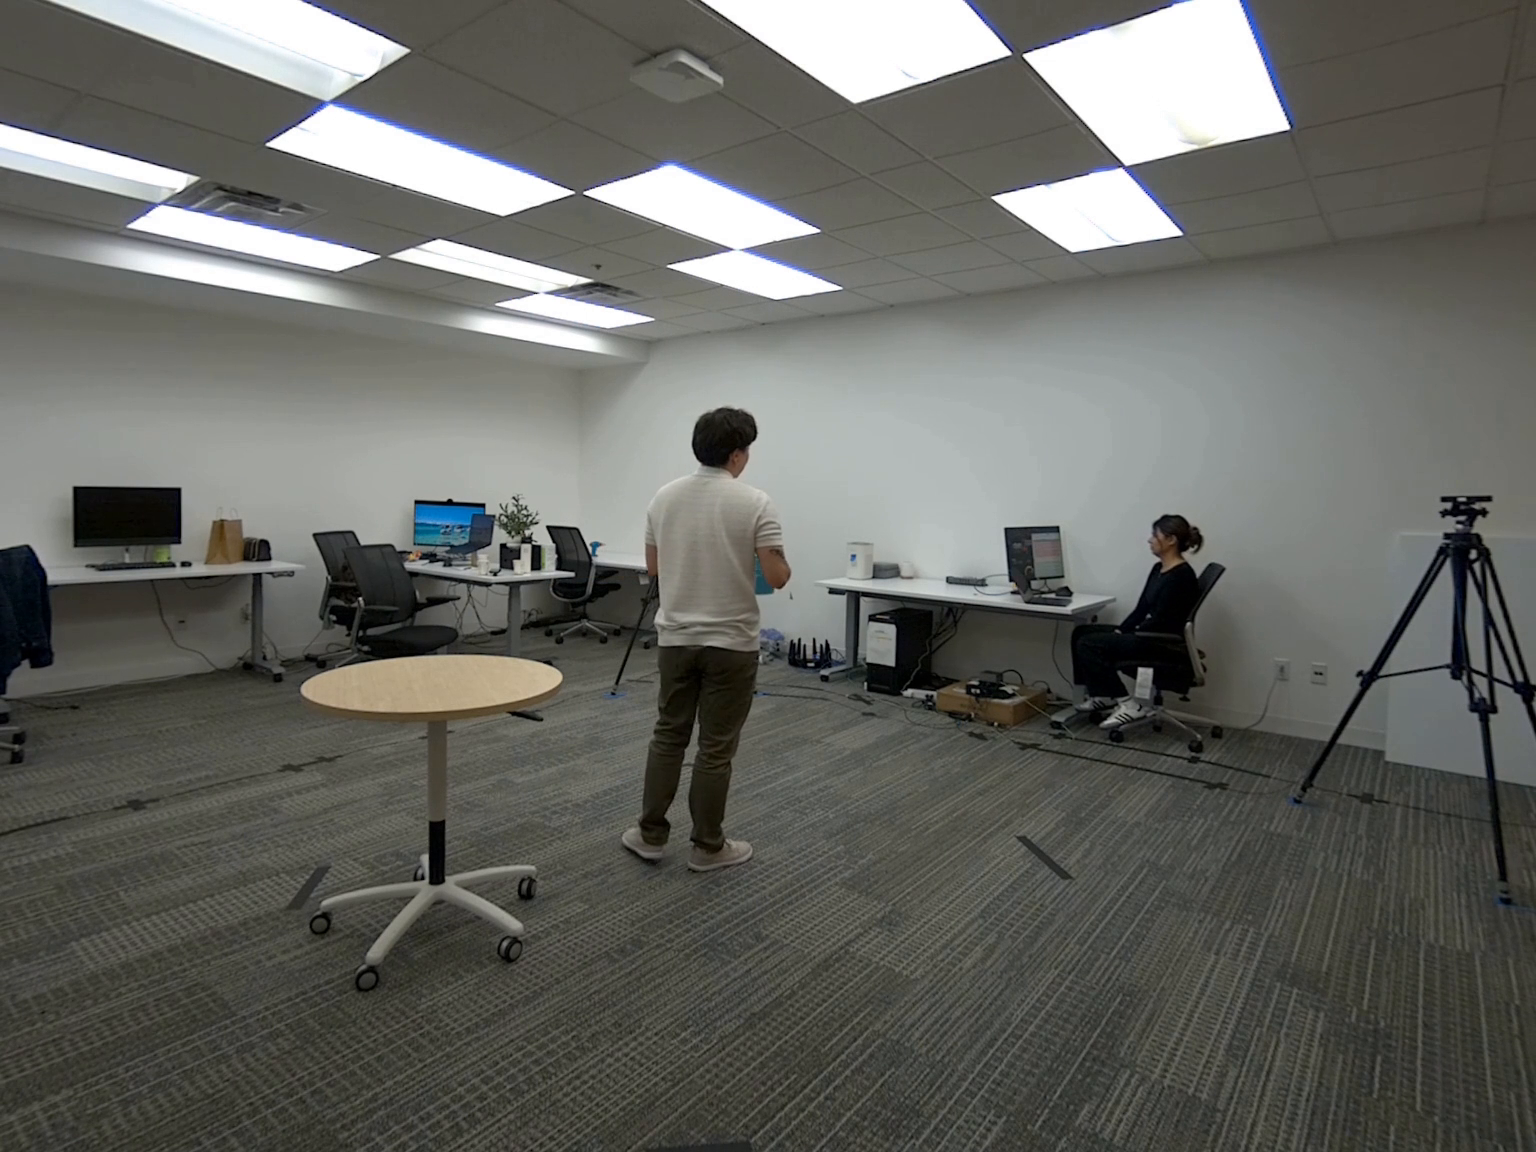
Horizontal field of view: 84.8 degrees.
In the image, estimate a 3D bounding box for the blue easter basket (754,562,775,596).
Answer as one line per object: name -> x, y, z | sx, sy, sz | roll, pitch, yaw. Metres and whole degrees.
blue easter basket -> -0.084, -0.009, 3.304 | 0.243, 0.155, 0.245 | 2, 6, -2
